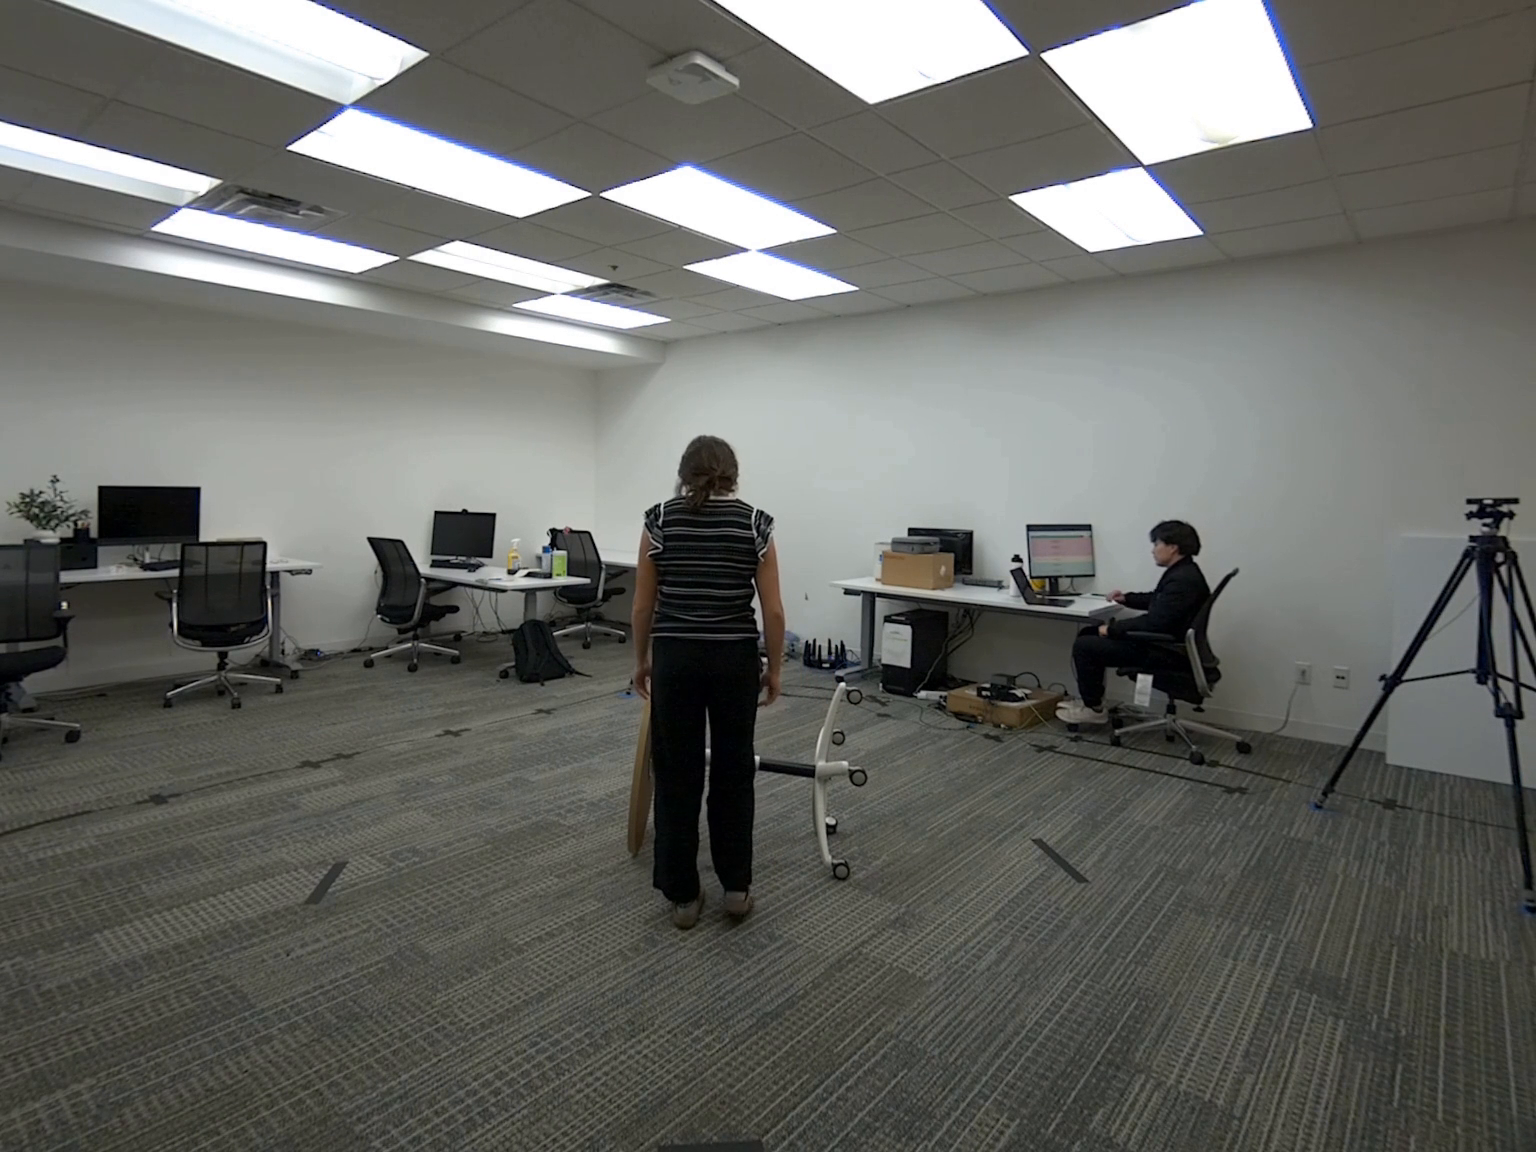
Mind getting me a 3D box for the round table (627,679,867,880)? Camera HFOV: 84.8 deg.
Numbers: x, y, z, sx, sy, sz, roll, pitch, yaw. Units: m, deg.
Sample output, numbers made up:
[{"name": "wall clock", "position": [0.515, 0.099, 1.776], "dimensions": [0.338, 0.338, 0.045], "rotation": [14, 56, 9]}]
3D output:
[{"name": "round table", "position": [-0.080, 0.723, 3.280], "dimensions": [0.795, 0.762, 0.766], "rotation": [7, 4, 0]}]
